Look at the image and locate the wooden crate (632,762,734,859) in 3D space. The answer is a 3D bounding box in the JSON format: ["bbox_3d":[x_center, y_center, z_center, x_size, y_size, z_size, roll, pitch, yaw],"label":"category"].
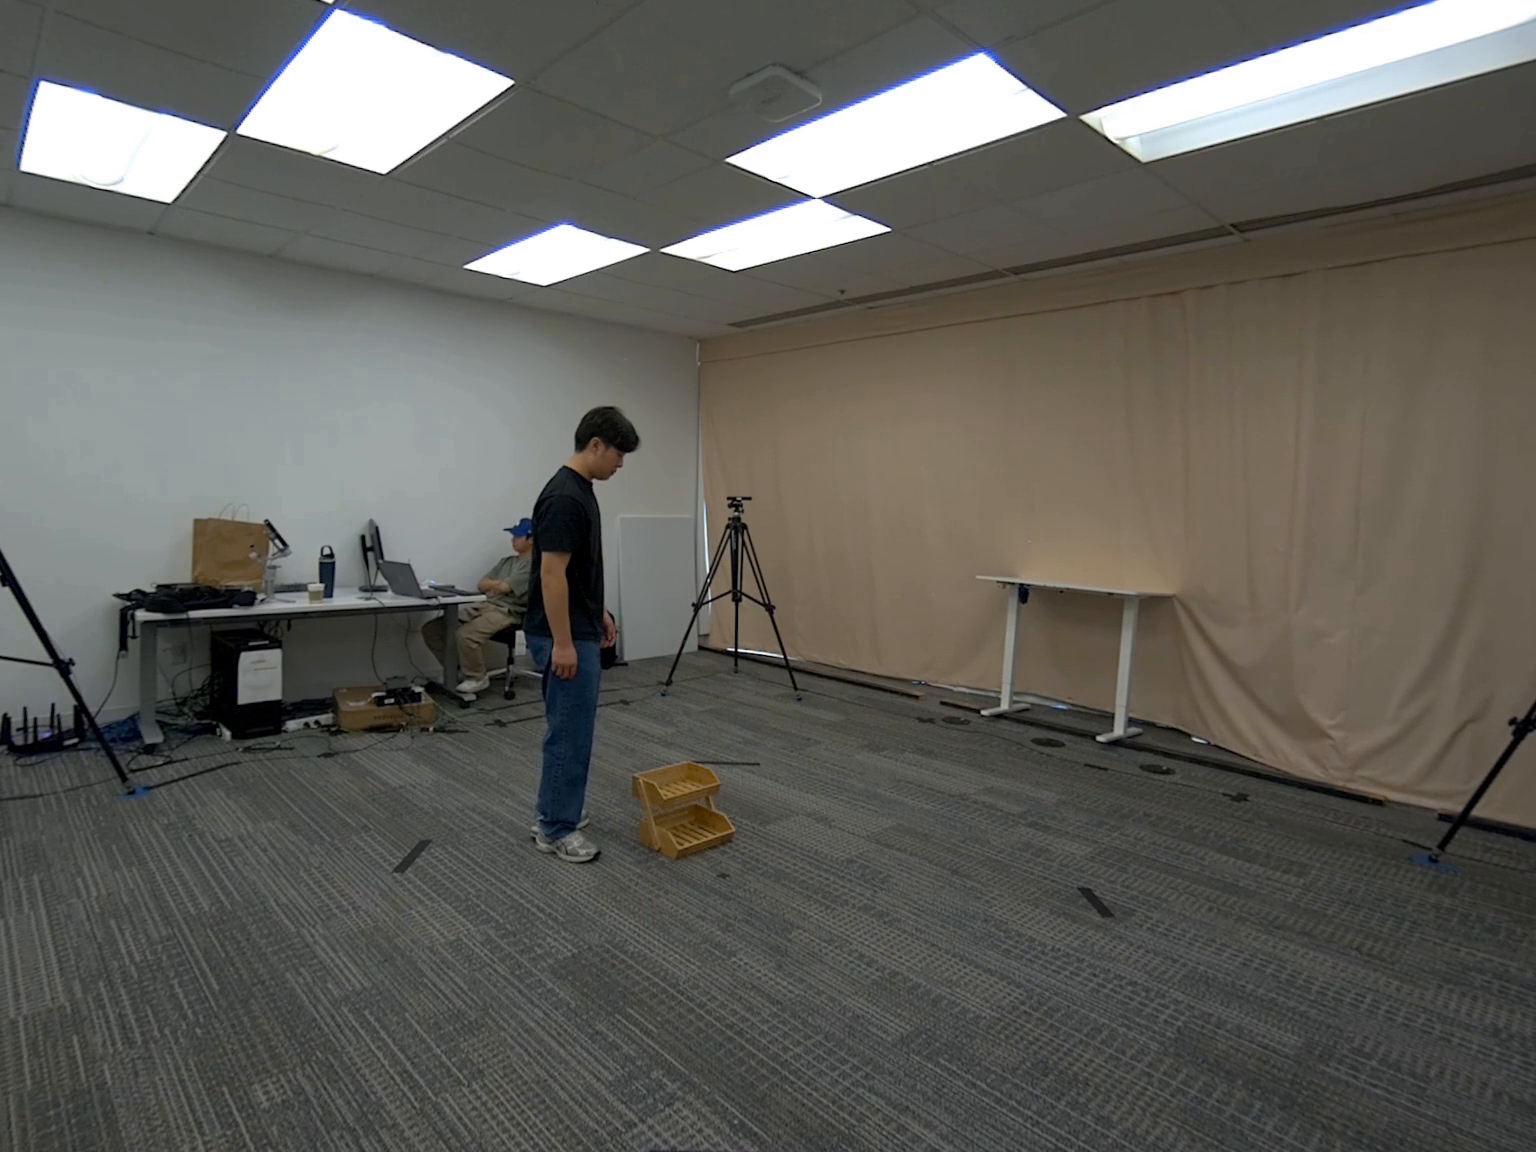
[{"bbox_3d":[-0.349,0.945,3.422,0.317,0.273,0.310,-2,5,-44],"label":"wooden crate"}]
